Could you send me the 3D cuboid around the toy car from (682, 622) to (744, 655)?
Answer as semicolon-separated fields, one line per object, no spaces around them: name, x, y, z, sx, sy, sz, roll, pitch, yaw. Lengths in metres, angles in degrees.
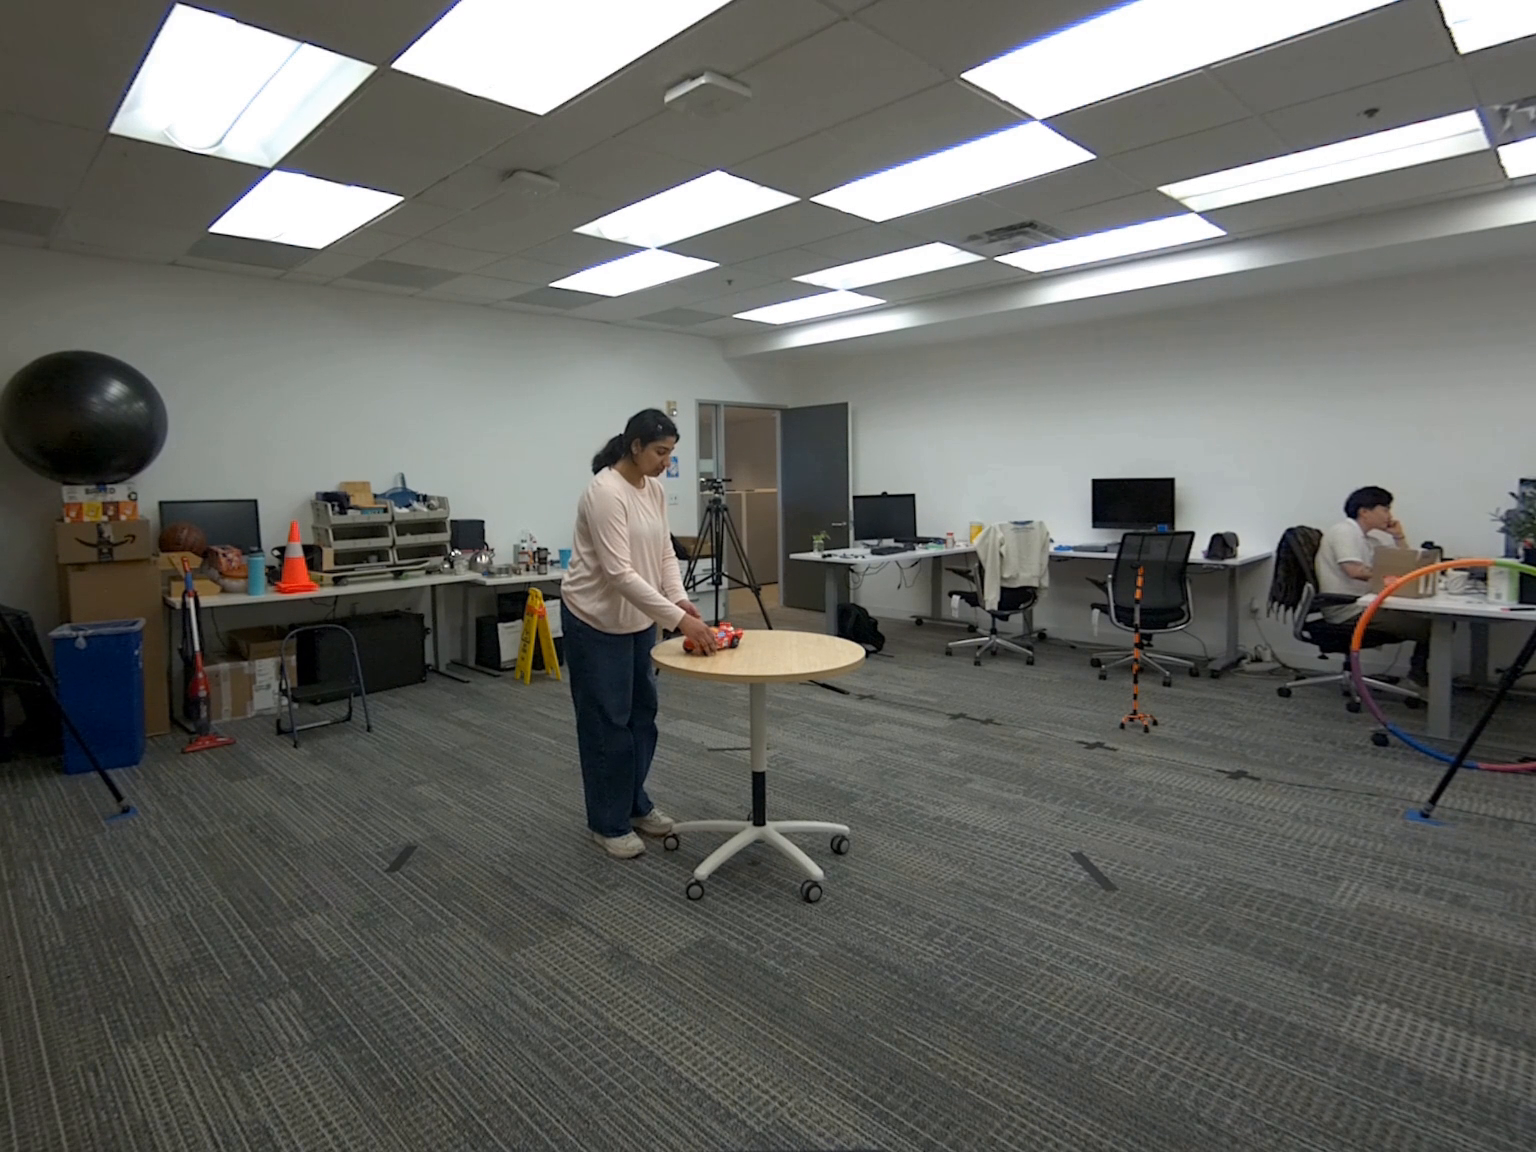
toy car;-0.185;0.232;3.084;0.134;0.082;0.250;5;20;38
